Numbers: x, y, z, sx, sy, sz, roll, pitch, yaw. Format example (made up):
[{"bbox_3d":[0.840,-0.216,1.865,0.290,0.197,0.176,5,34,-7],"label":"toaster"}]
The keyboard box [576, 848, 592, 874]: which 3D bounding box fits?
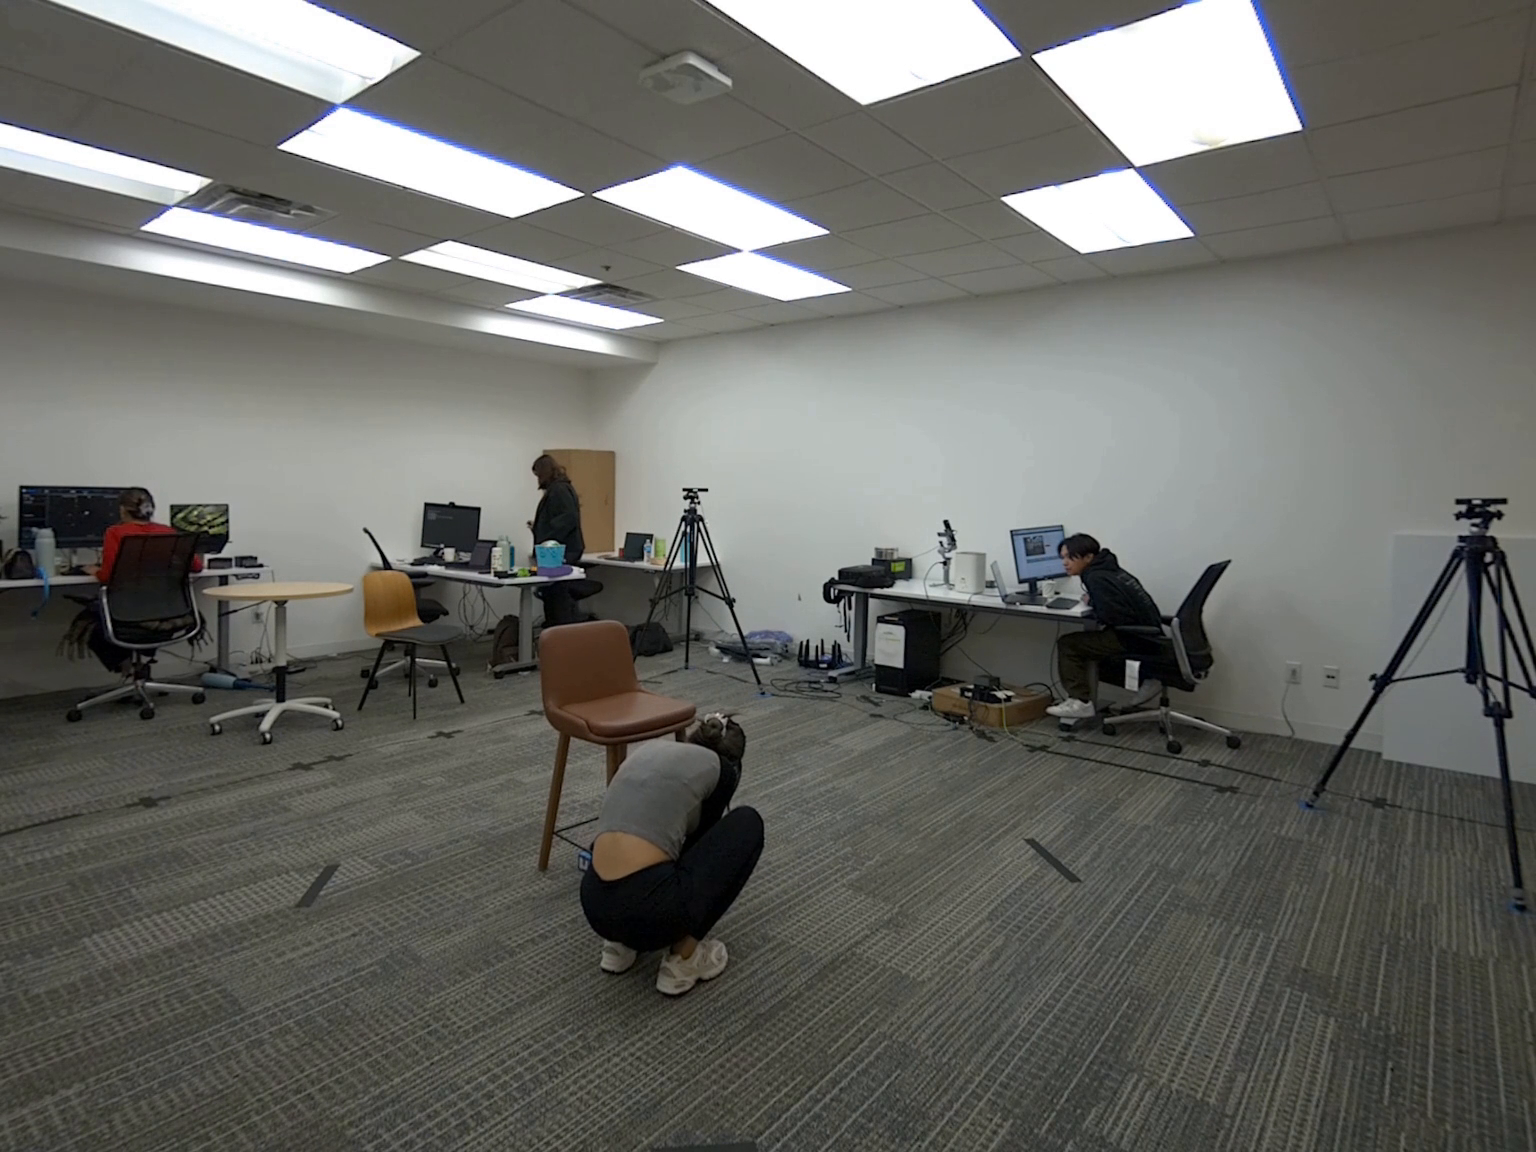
[{"bbox_3d":[-0.476,1.039,3.000,0.451,0.059,0.171,4,6,42],"label":"keyboard box"}]
